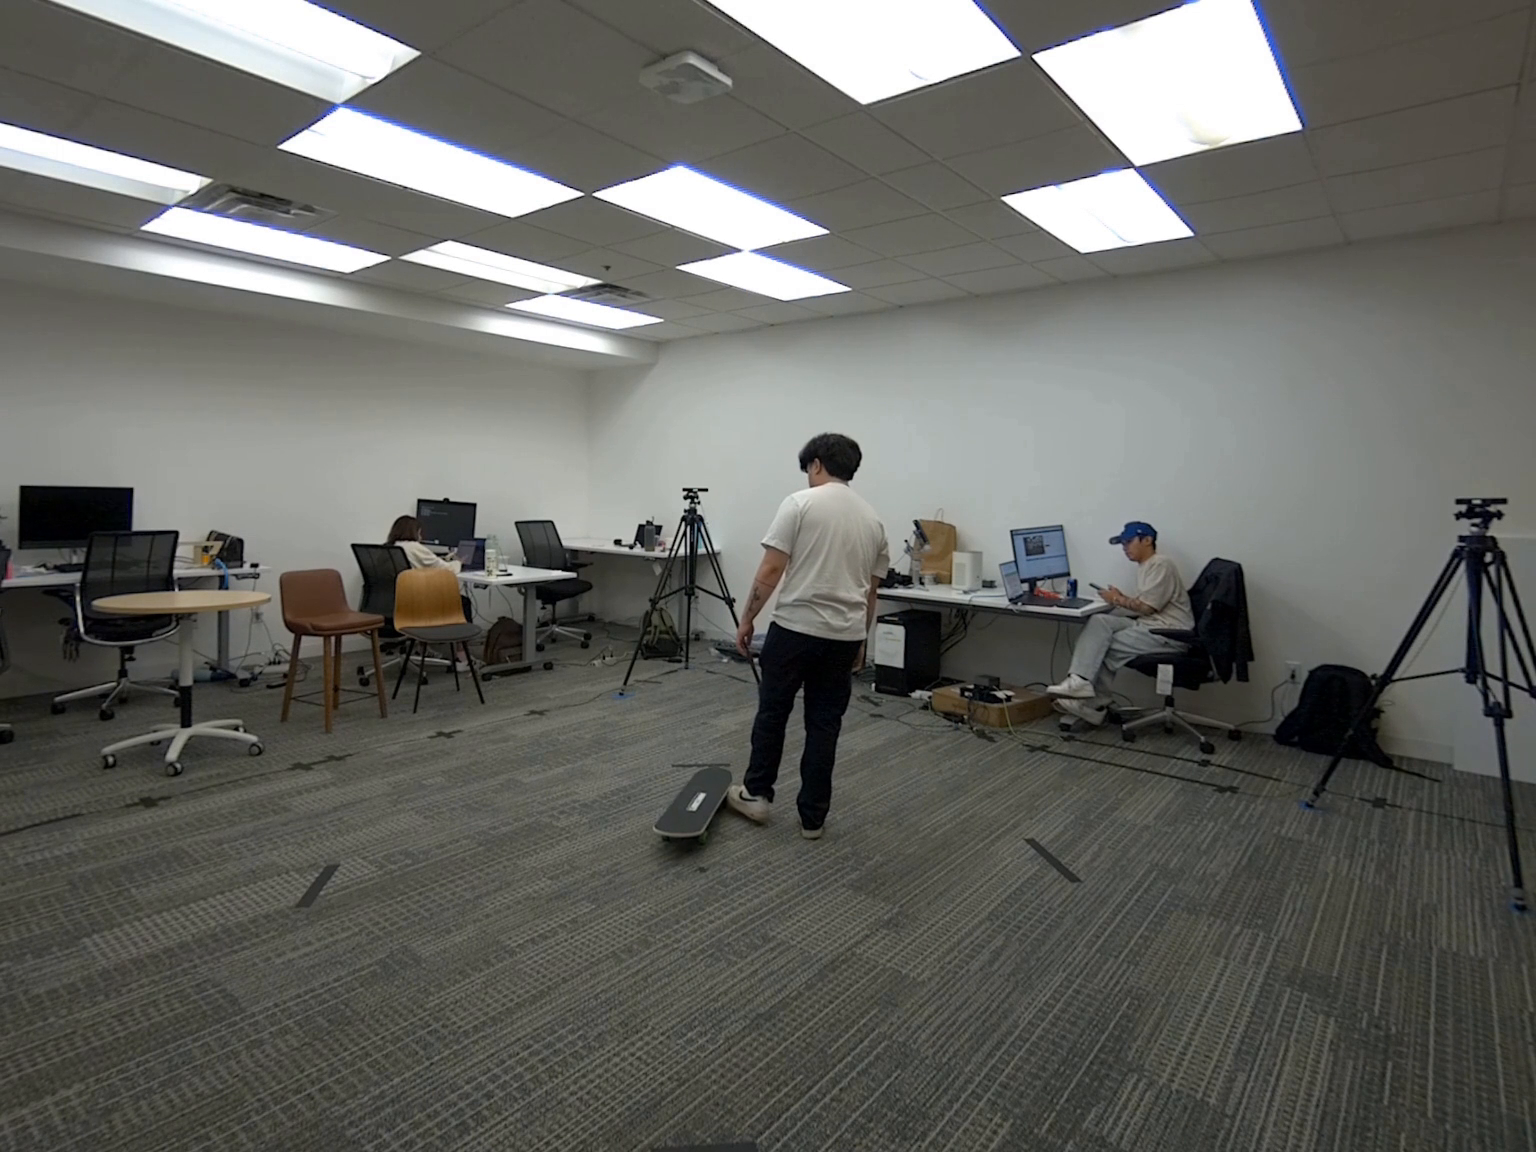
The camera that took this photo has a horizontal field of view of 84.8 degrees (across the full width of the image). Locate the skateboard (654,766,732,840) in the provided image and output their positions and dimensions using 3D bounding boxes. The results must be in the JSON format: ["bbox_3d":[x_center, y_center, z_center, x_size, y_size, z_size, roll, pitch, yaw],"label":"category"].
[{"bbox_3d":[-0.307,0.965,3.543,0.196,0.110,0.779,1,6,10],"label":"skateboard"}]
